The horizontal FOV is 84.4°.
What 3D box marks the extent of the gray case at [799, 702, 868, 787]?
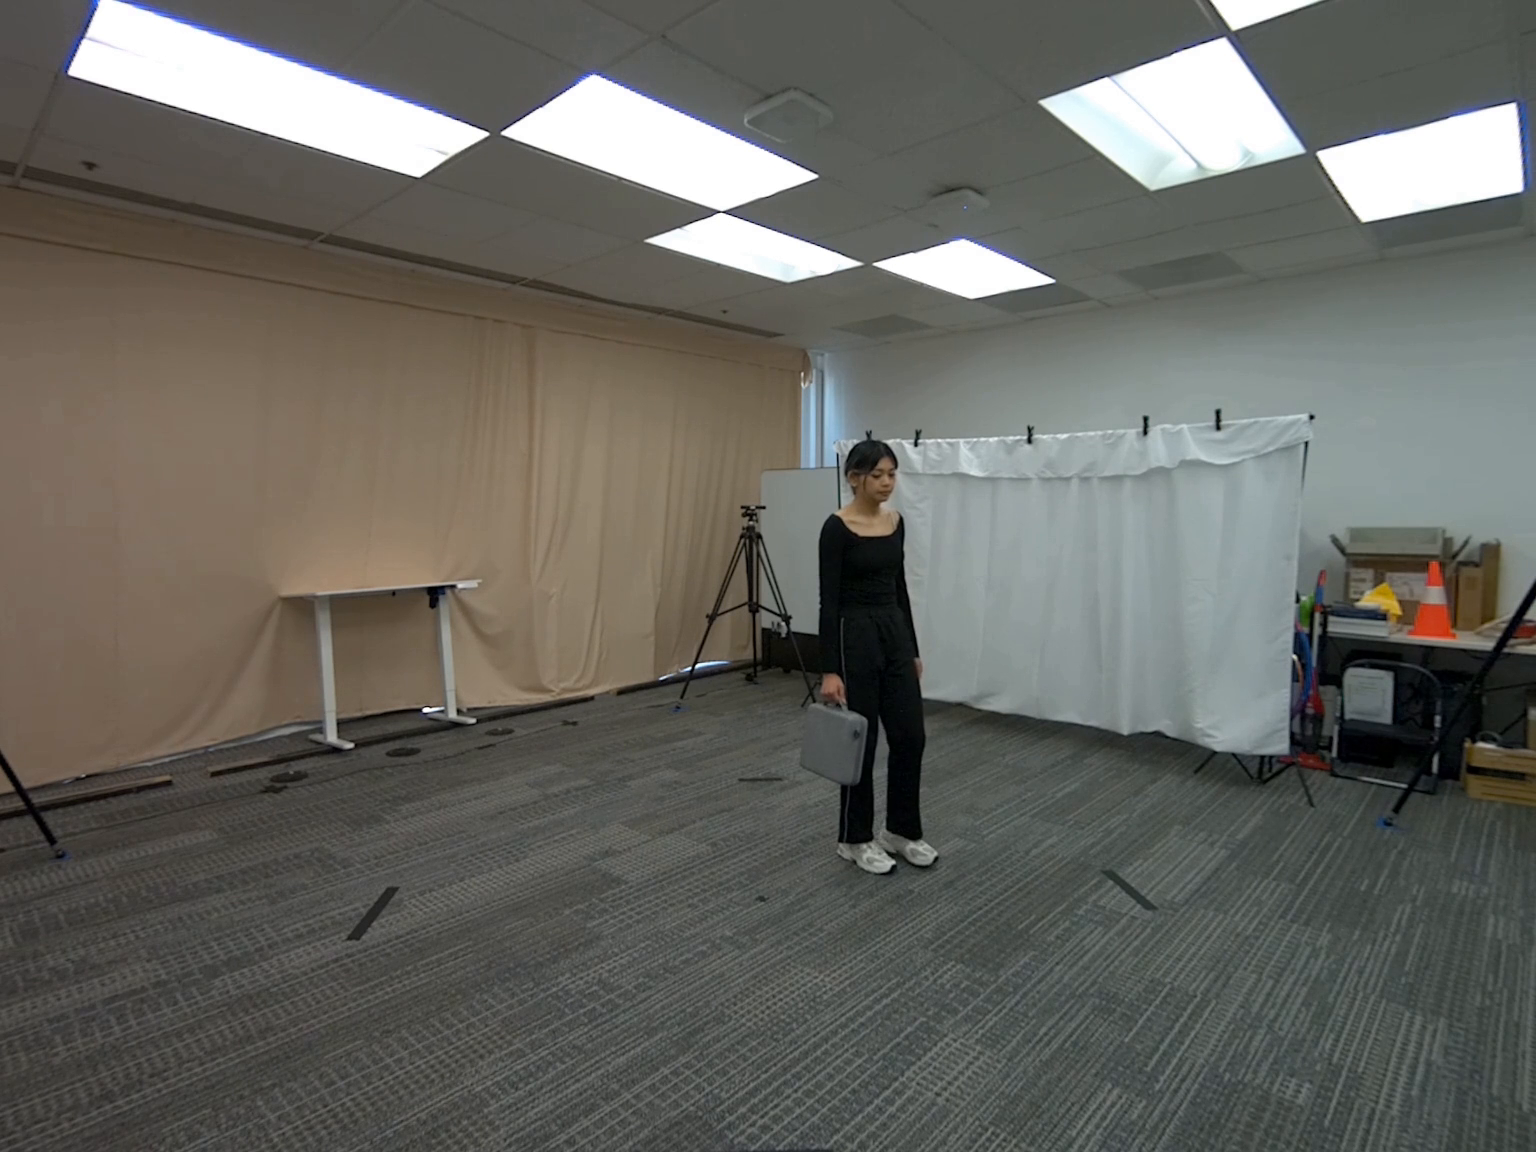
[{"bbox_3d":[0.254,0.608,3.098,0.101,0.260,0.265,6,1,-32],"label":"gray case"}]
